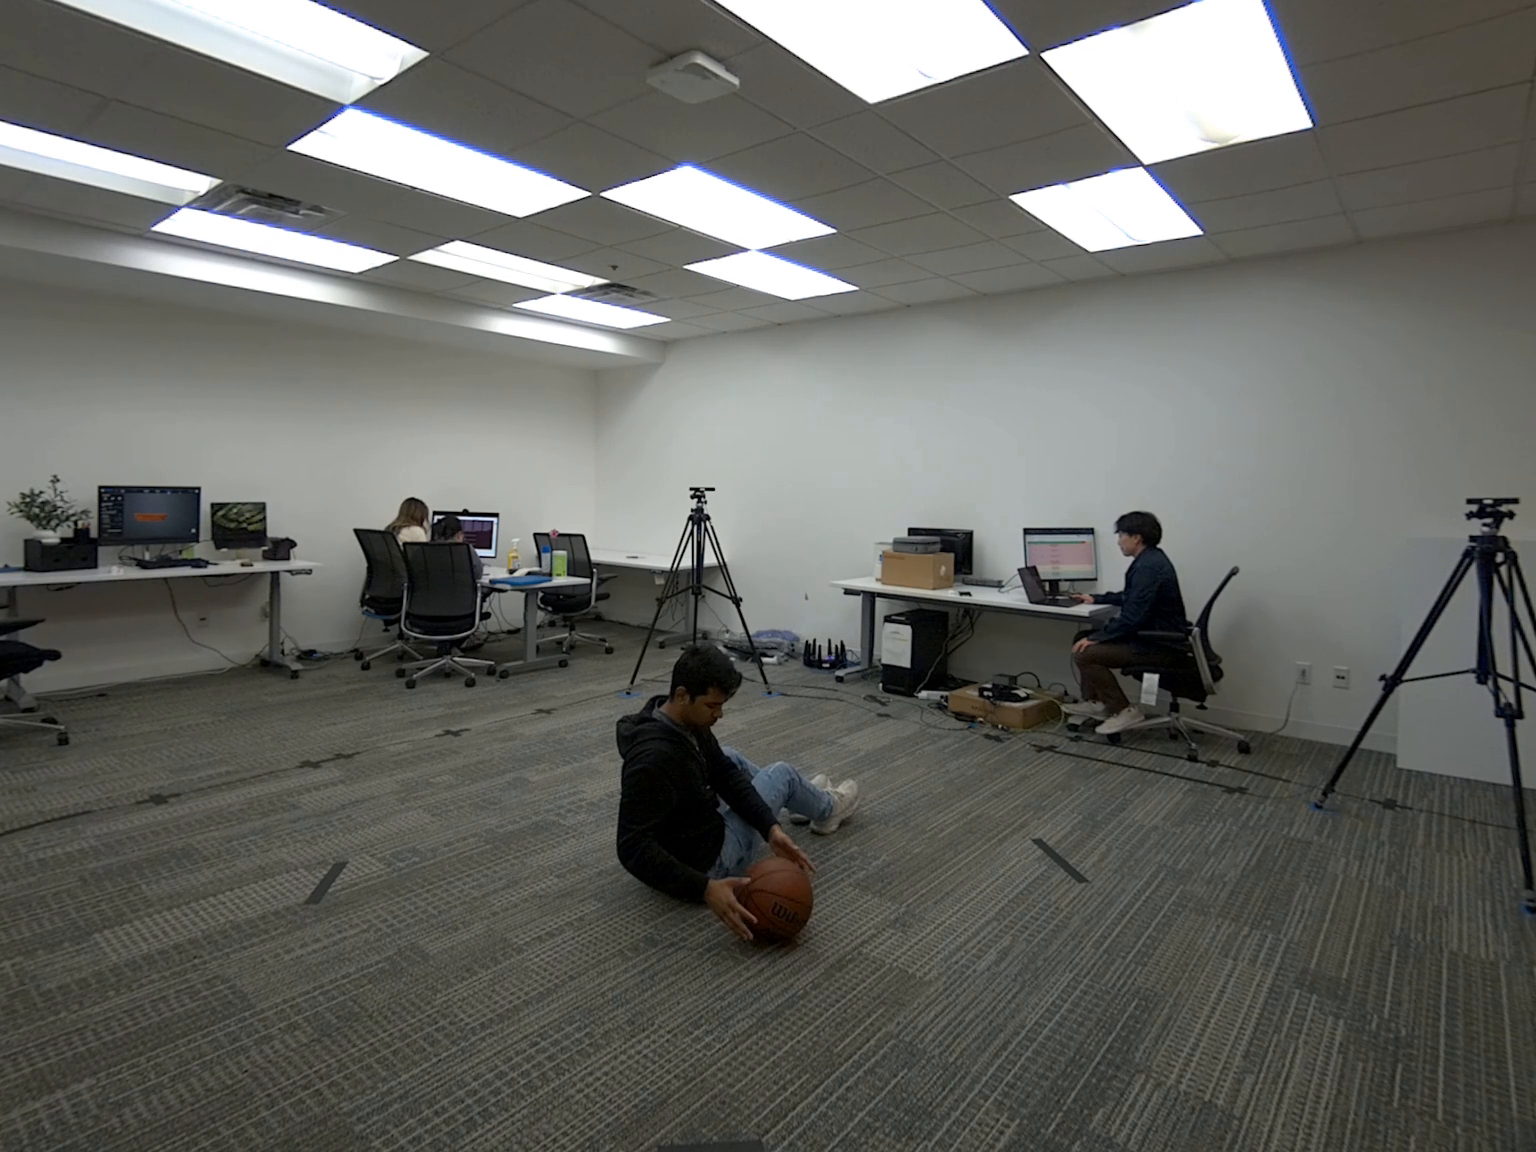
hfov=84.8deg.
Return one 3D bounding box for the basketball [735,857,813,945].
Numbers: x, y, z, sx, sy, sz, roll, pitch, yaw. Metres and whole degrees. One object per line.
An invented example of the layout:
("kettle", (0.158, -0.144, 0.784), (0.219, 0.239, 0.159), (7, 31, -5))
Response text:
("basketball", (0.015, 1.000, 2.637), (0.235, 0.235, 0.237), (1, 4, -2))
